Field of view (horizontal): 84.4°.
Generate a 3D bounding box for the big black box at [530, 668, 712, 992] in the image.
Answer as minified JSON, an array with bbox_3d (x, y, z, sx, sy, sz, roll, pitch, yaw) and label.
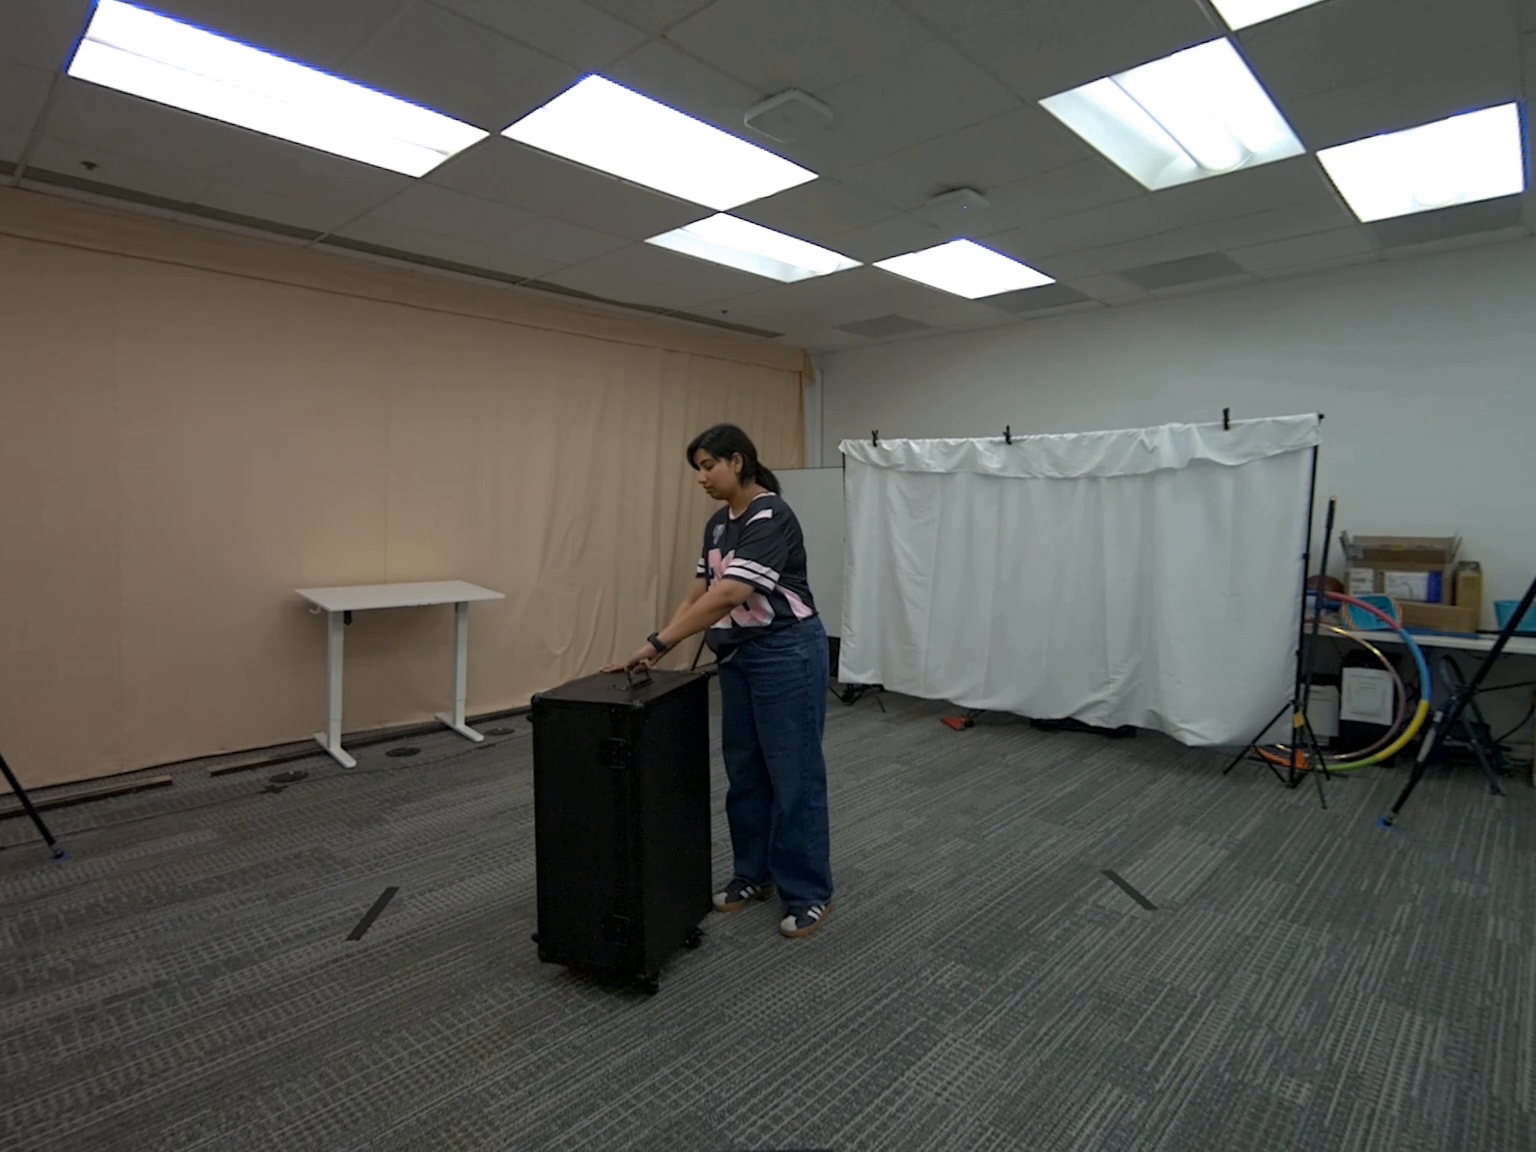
[{"bbox_3d":[-0.437,0.756,2.588,0.393,0.867,0.513,0,2,20],"label":"big black box"}]
